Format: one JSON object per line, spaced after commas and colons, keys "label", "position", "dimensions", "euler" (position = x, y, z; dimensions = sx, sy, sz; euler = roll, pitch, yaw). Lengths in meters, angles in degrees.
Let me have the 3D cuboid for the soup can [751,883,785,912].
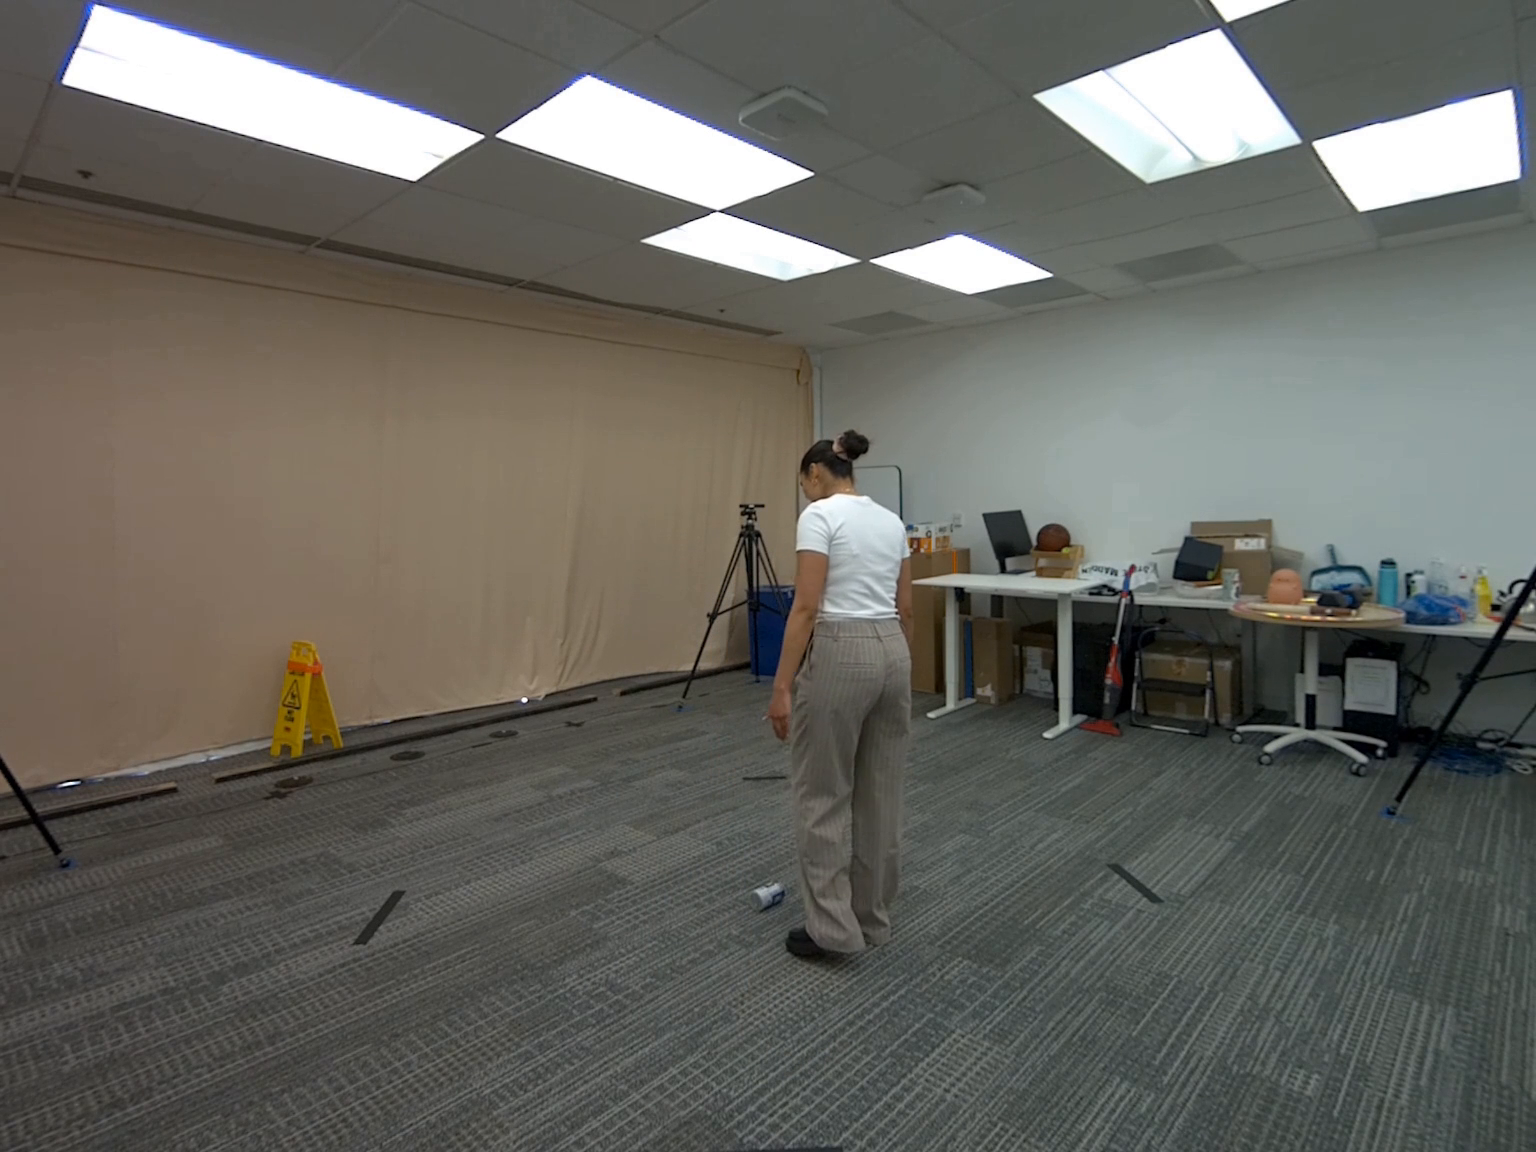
{"label": "soup can", "position": [0.003, 1.107, 2.925], "dimensions": [0.118, 0.067, 0.069], "euler": [-4, 5, -44]}
